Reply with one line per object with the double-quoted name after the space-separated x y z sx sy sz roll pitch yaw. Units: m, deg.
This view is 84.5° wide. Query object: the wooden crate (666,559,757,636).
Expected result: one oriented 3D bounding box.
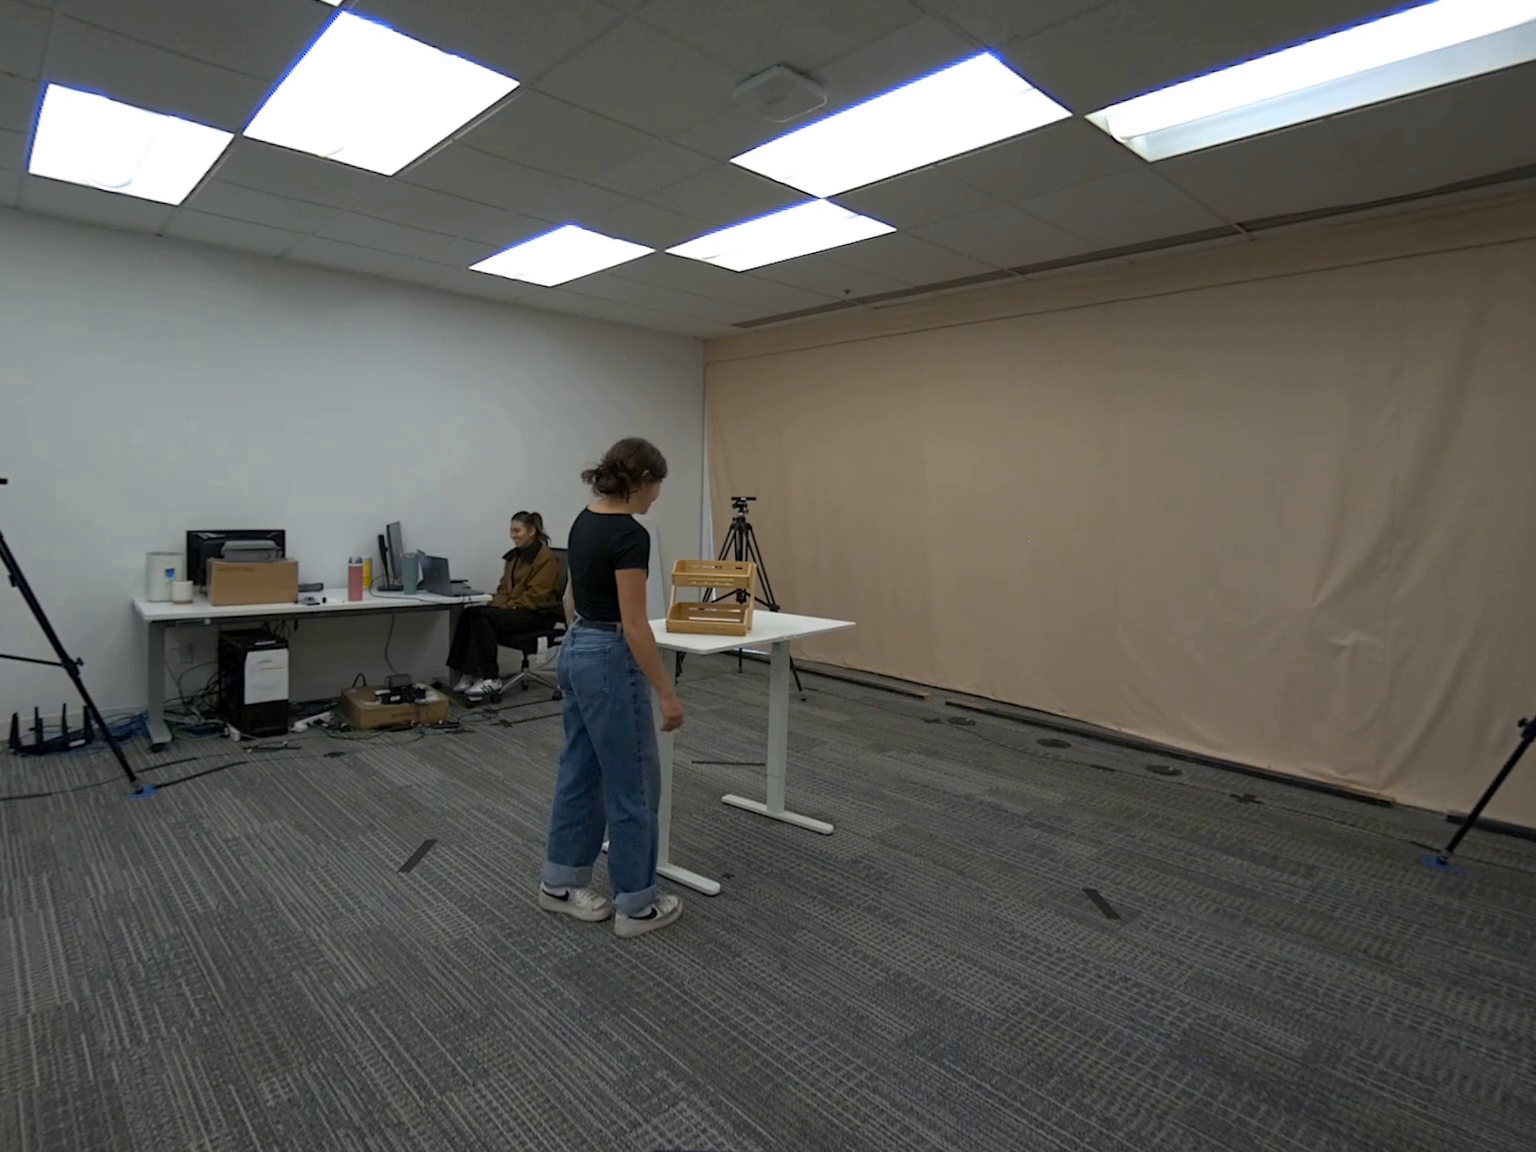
-0.229 0.079 3.264 0.326 0.273 0.301 3 4 5 "wooden crate"
